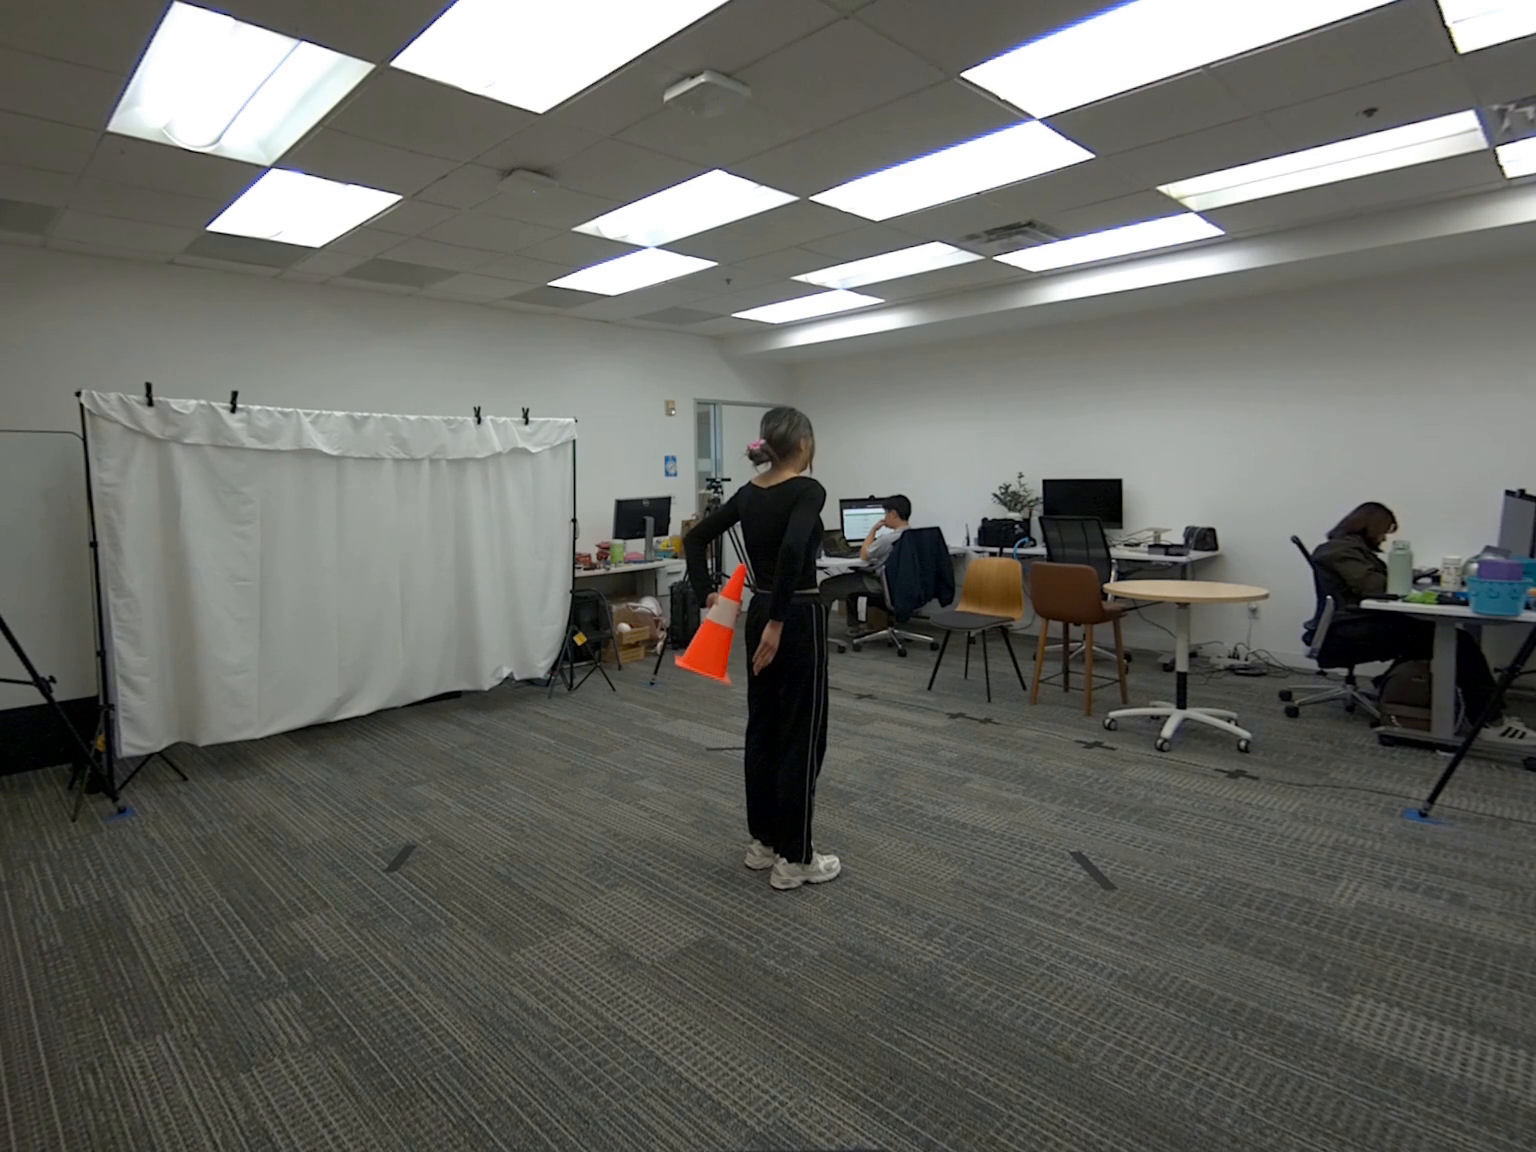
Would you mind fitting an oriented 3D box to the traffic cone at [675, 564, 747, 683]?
[{"bbox_3d":[-0.151,0.139,2.899,0.204,0.383,0.204,20,2,3],"label":"traffic cone"}]
